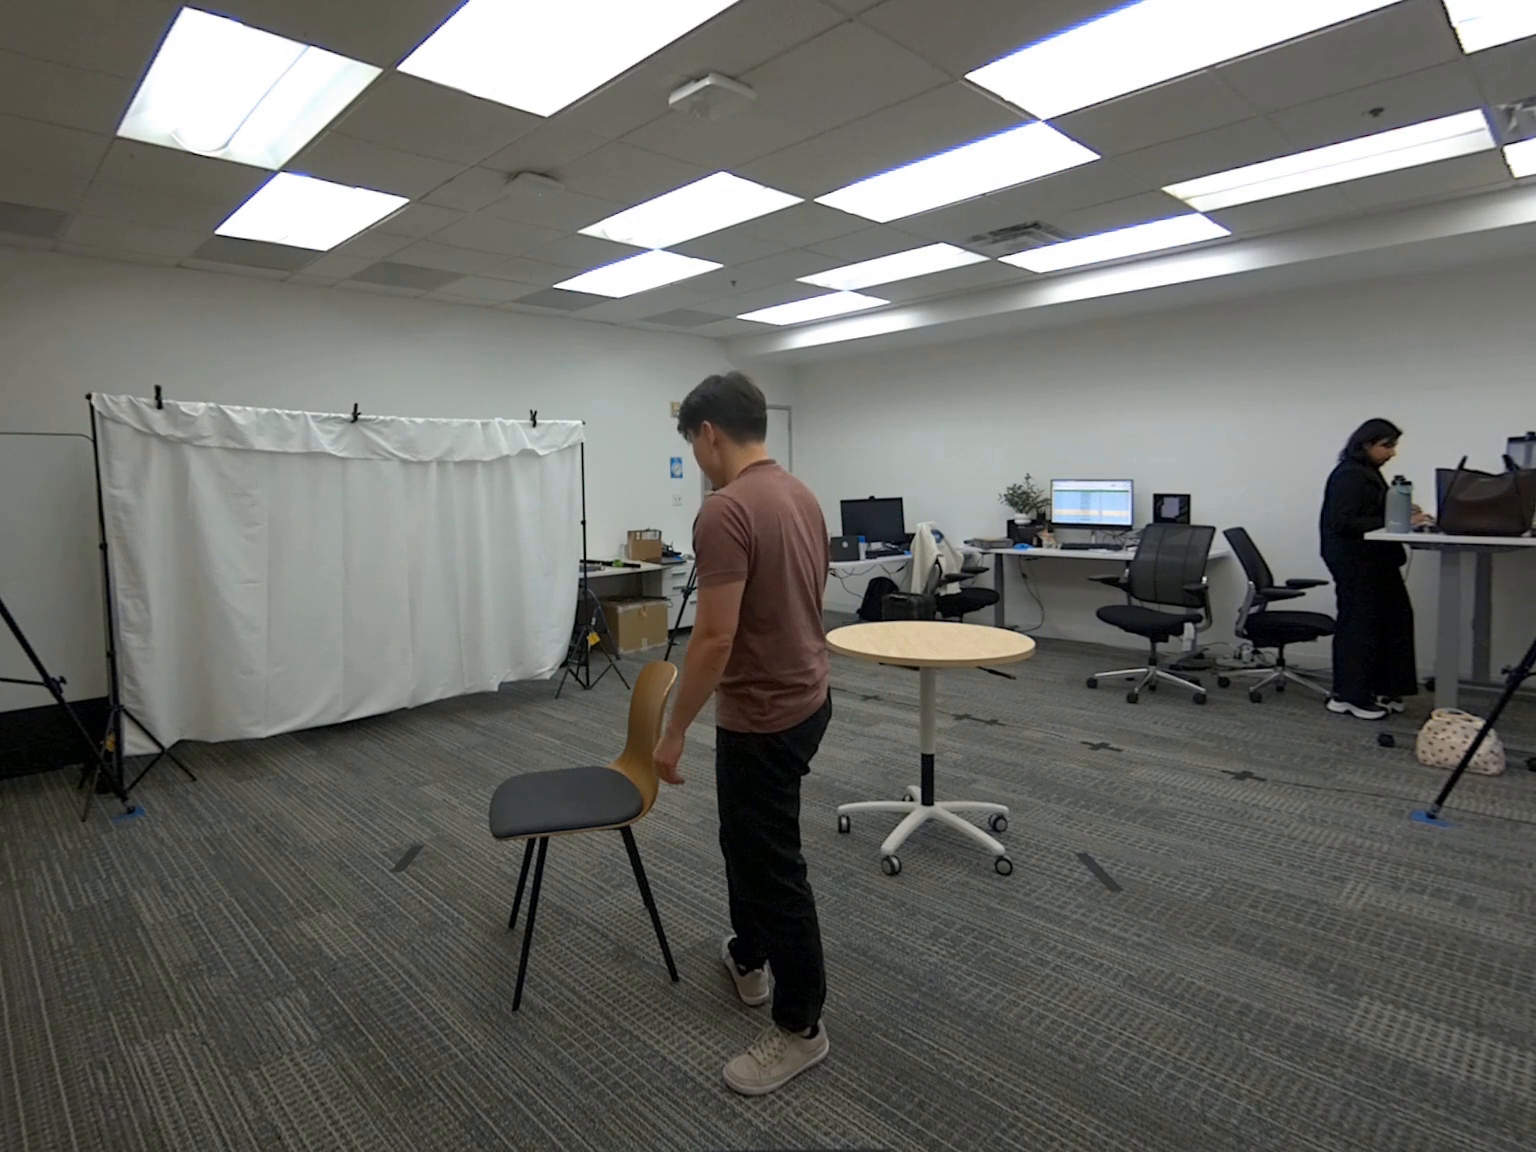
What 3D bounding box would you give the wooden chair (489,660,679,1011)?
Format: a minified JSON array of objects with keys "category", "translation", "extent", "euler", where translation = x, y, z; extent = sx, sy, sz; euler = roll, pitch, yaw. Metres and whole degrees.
[{"category":"wooden chair","translation":[-0.546,0.700,2.510],"extent":[0.515,0.875,0.487],"euler":[1,3,-17]}]
